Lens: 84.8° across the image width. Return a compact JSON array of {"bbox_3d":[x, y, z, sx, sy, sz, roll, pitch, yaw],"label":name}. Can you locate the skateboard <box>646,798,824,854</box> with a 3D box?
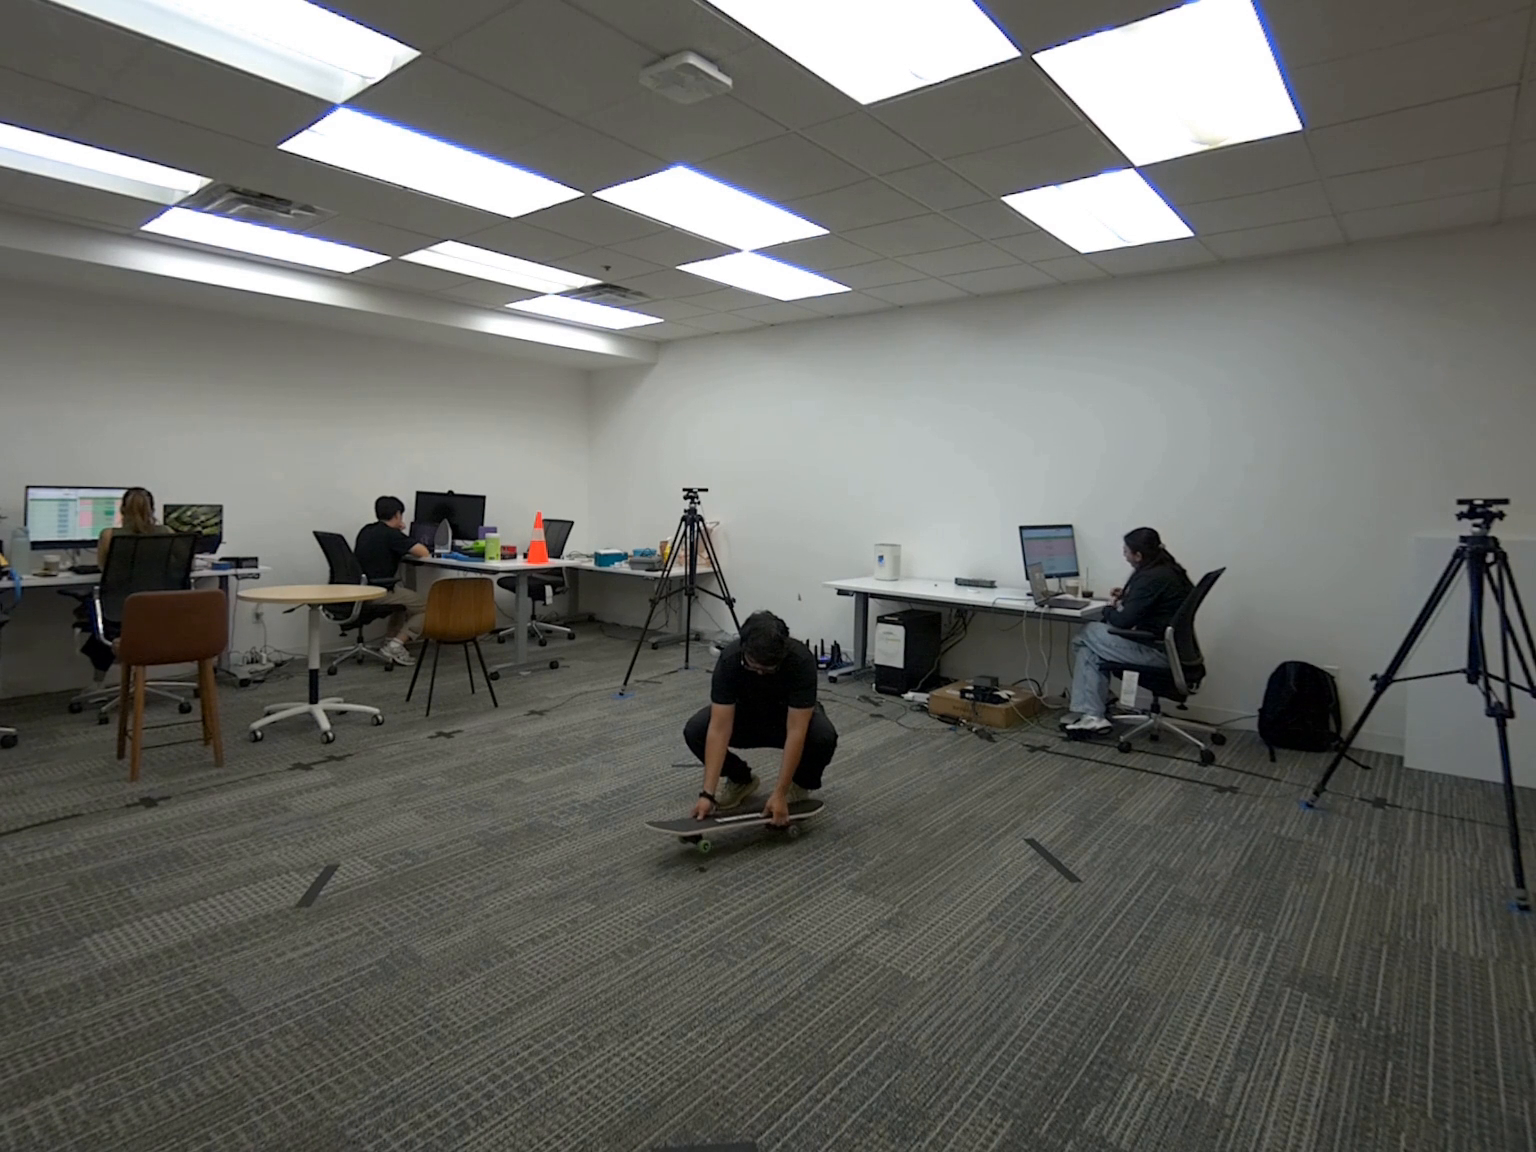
[{"bbox_3d":[-0.123,0.973,3.318,0.764,0.111,0.198,0,-2,-29],"label":"skateboard"}]
